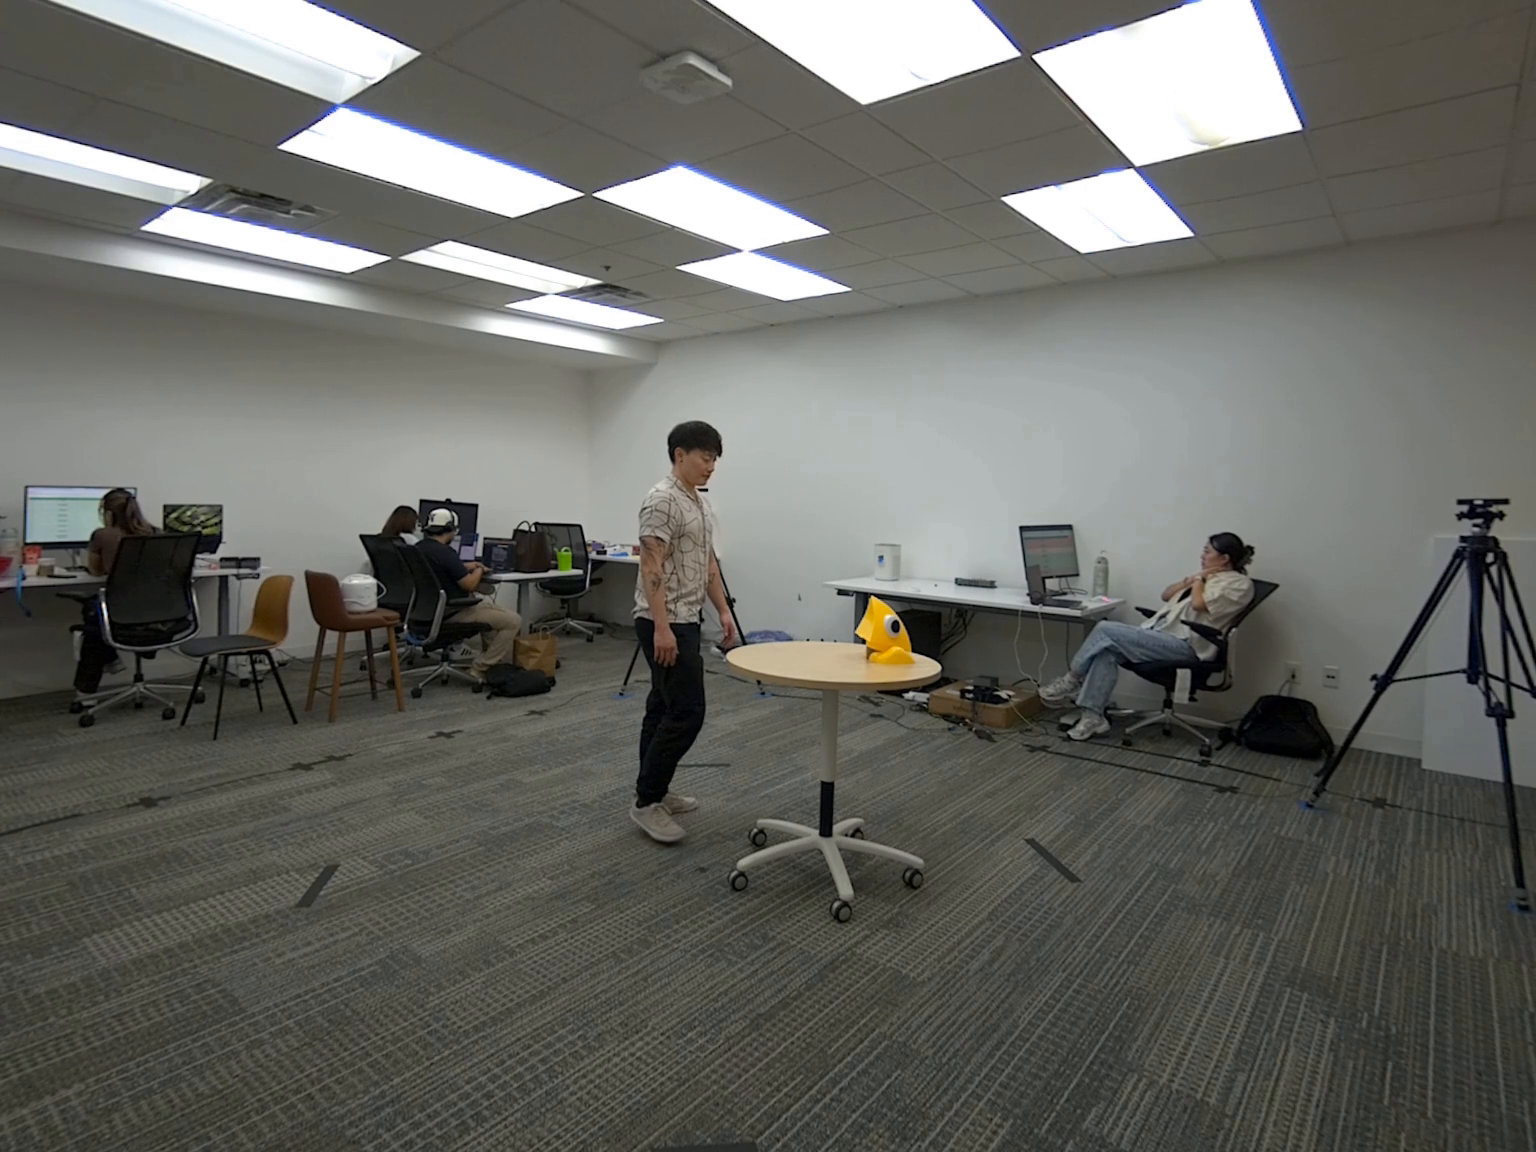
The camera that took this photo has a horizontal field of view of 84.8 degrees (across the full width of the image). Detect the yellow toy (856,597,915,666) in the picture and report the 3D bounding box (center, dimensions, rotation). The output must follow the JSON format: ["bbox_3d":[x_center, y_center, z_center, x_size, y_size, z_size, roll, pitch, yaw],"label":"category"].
[{"bbox_3d":[0.428,0.183,3.112,0.192,0.230,0.207,-2,4,-8],"label":"yellow toy"}]
